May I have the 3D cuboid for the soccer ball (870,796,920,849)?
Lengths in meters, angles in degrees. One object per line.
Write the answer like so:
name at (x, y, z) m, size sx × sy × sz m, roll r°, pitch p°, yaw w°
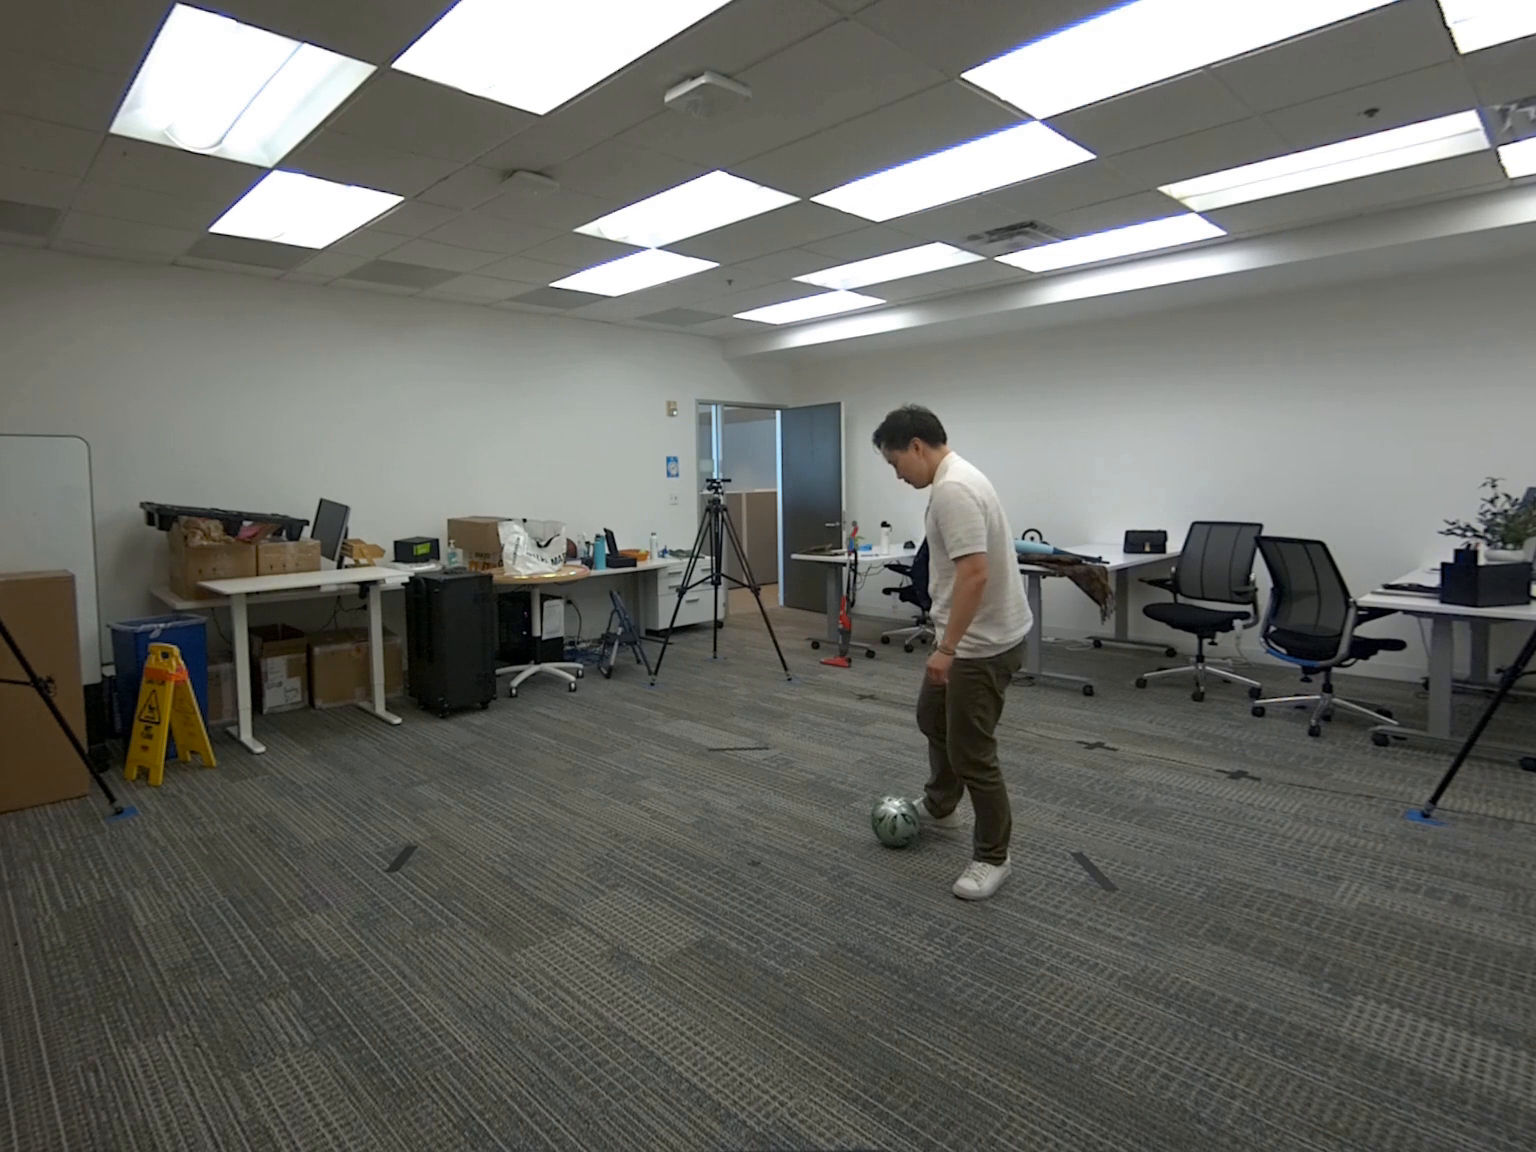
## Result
soccer ball at (0.478, 0.928, 3.230) m, size 0.187 × 0.187 × 0.188 m, roll -1°, pitch 5°, yaw -2°
